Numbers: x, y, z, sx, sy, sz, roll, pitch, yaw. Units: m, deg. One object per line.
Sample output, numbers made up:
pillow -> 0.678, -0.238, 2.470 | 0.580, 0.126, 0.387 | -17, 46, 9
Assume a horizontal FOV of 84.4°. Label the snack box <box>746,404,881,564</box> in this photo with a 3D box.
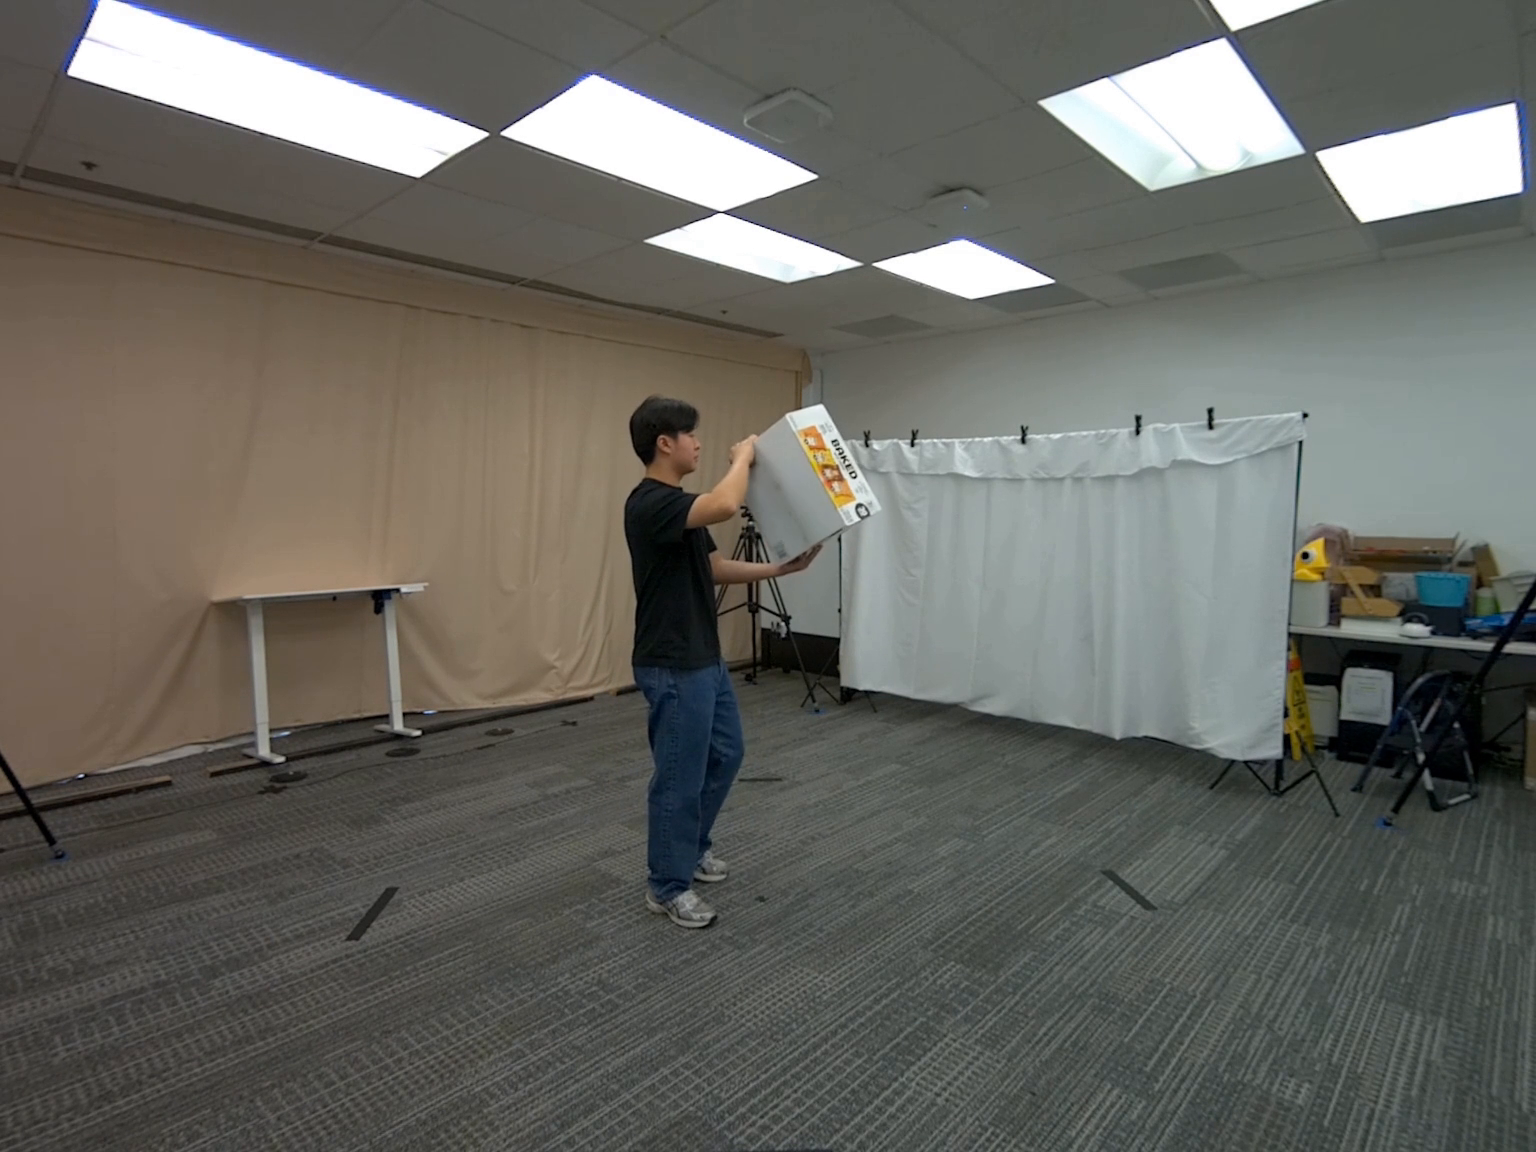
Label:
snack box -> 0.112, -0.295, 2.804 | 0.201, 0.407, 0.346 | -23, -6, -45
